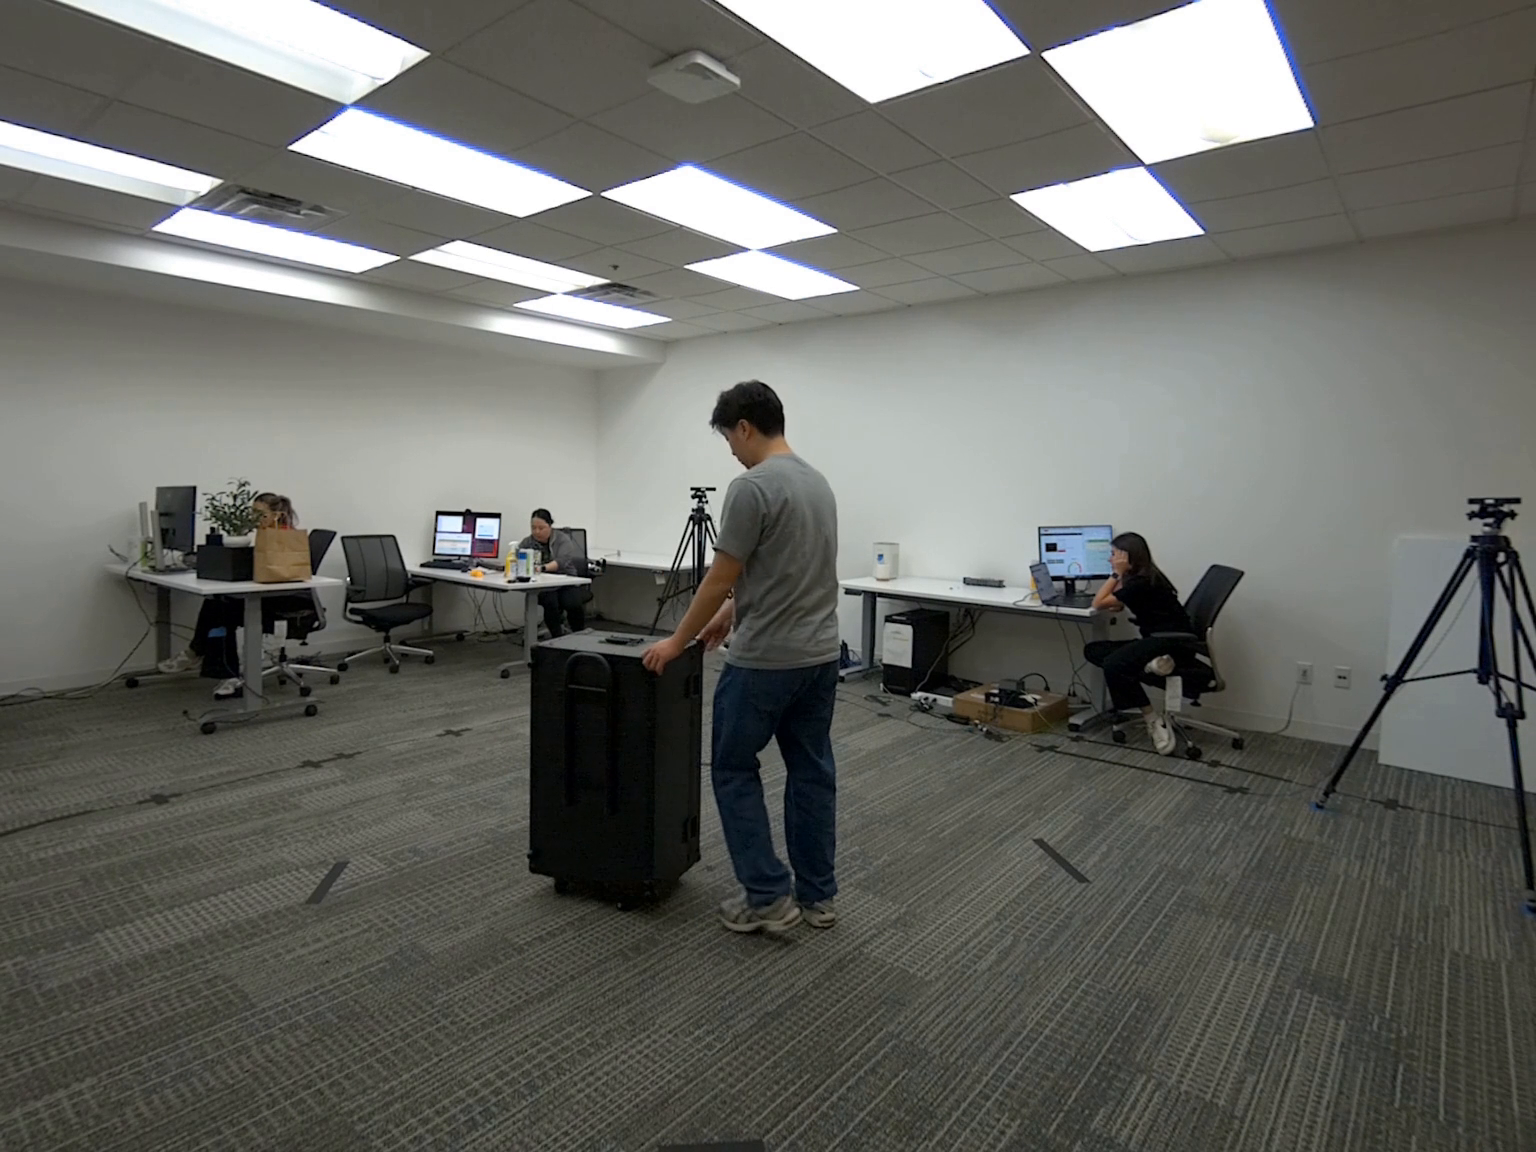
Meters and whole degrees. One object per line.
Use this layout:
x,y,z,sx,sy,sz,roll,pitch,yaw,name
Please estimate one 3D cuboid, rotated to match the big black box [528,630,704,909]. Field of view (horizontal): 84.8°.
-0.529,0.657,2.926,0.534,0.858,0.388,3,4,23,big black box
